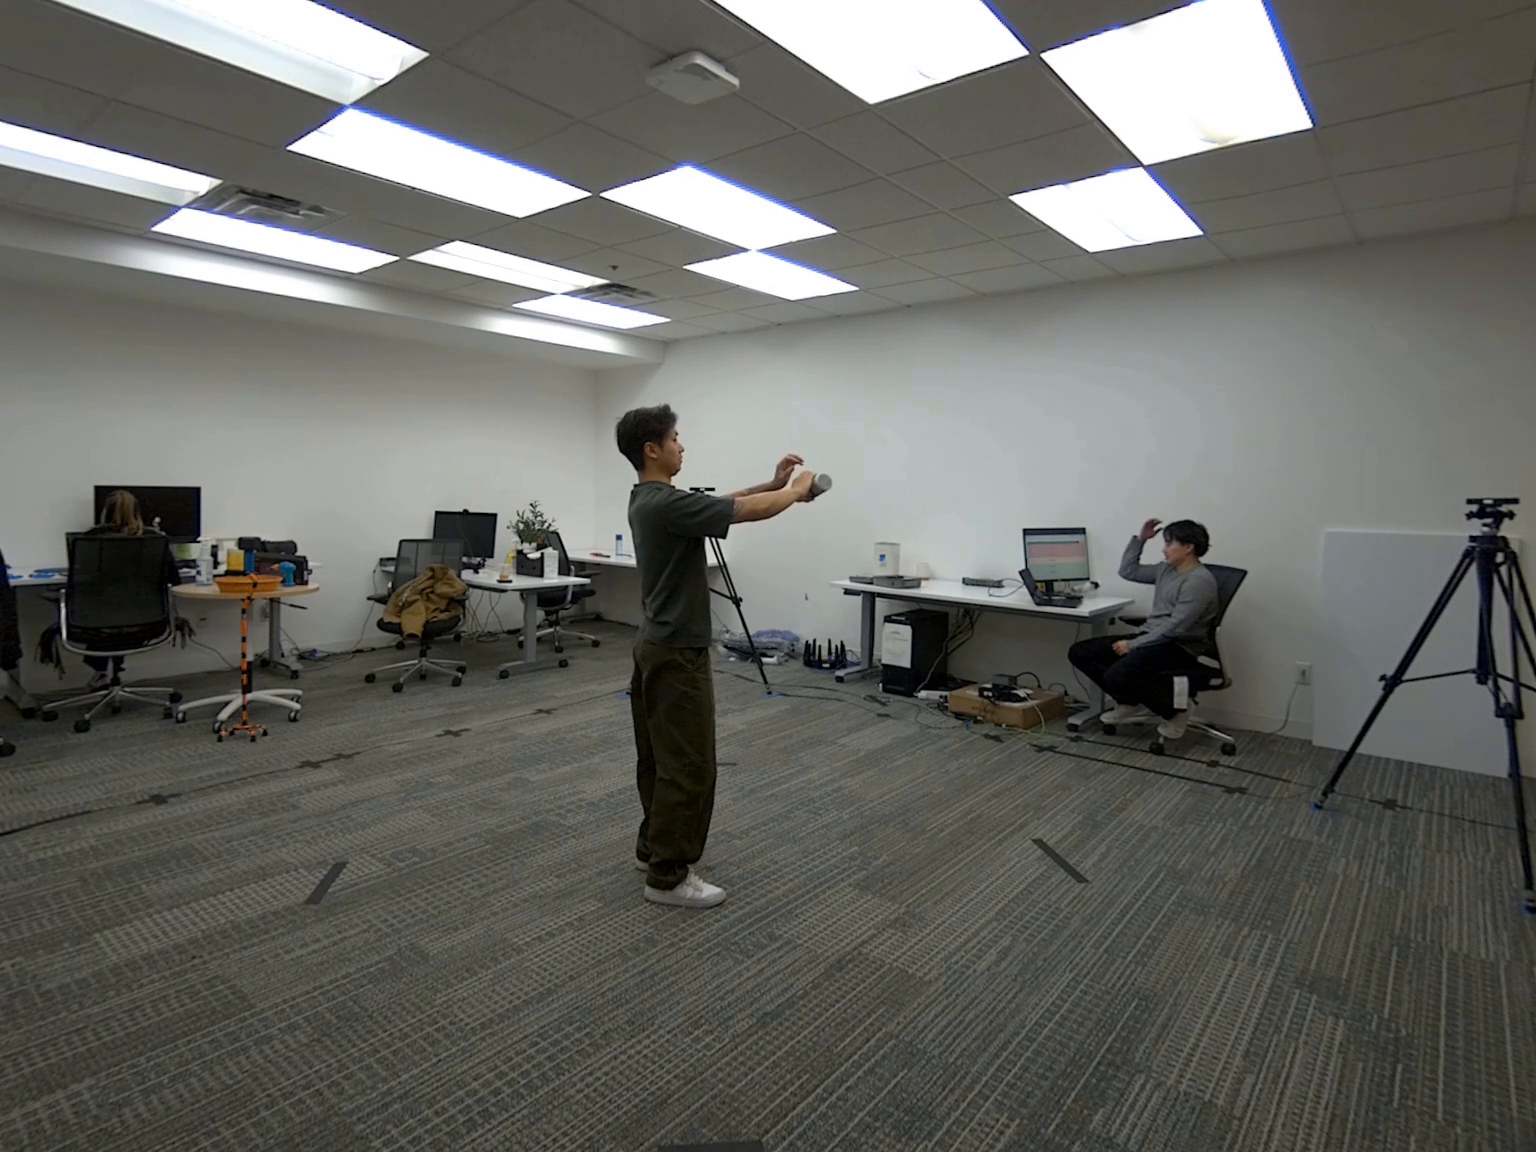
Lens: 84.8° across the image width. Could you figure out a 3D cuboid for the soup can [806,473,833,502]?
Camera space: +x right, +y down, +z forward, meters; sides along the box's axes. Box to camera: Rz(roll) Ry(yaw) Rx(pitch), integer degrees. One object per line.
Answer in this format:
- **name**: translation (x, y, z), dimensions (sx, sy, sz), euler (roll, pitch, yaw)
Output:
- **soup can**: translation (0.167, -0.323, 3.050), dimensions (0.065, 0.068, 0.123), euler (-1, -14, -27)
